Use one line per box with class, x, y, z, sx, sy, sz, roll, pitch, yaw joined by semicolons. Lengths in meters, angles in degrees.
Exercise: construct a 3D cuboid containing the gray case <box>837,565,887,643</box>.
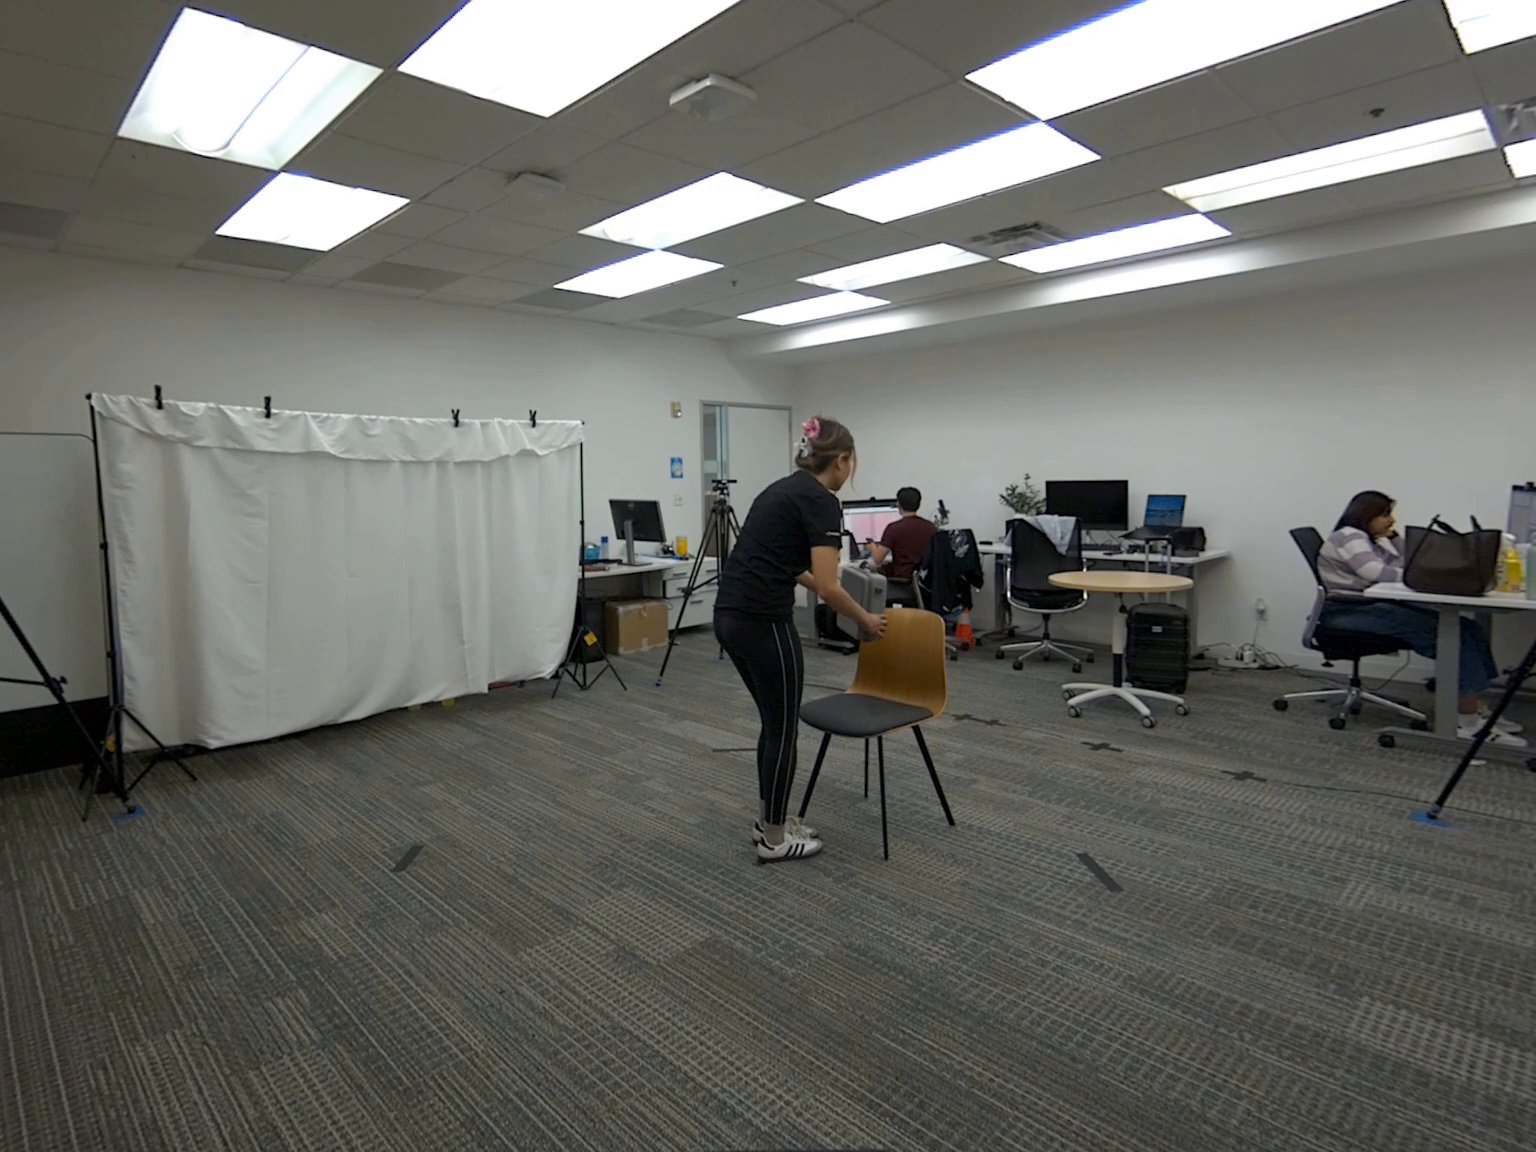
gray case;0.359;0.104;3.284;0.103;0.259;0.261;2;8;-10
